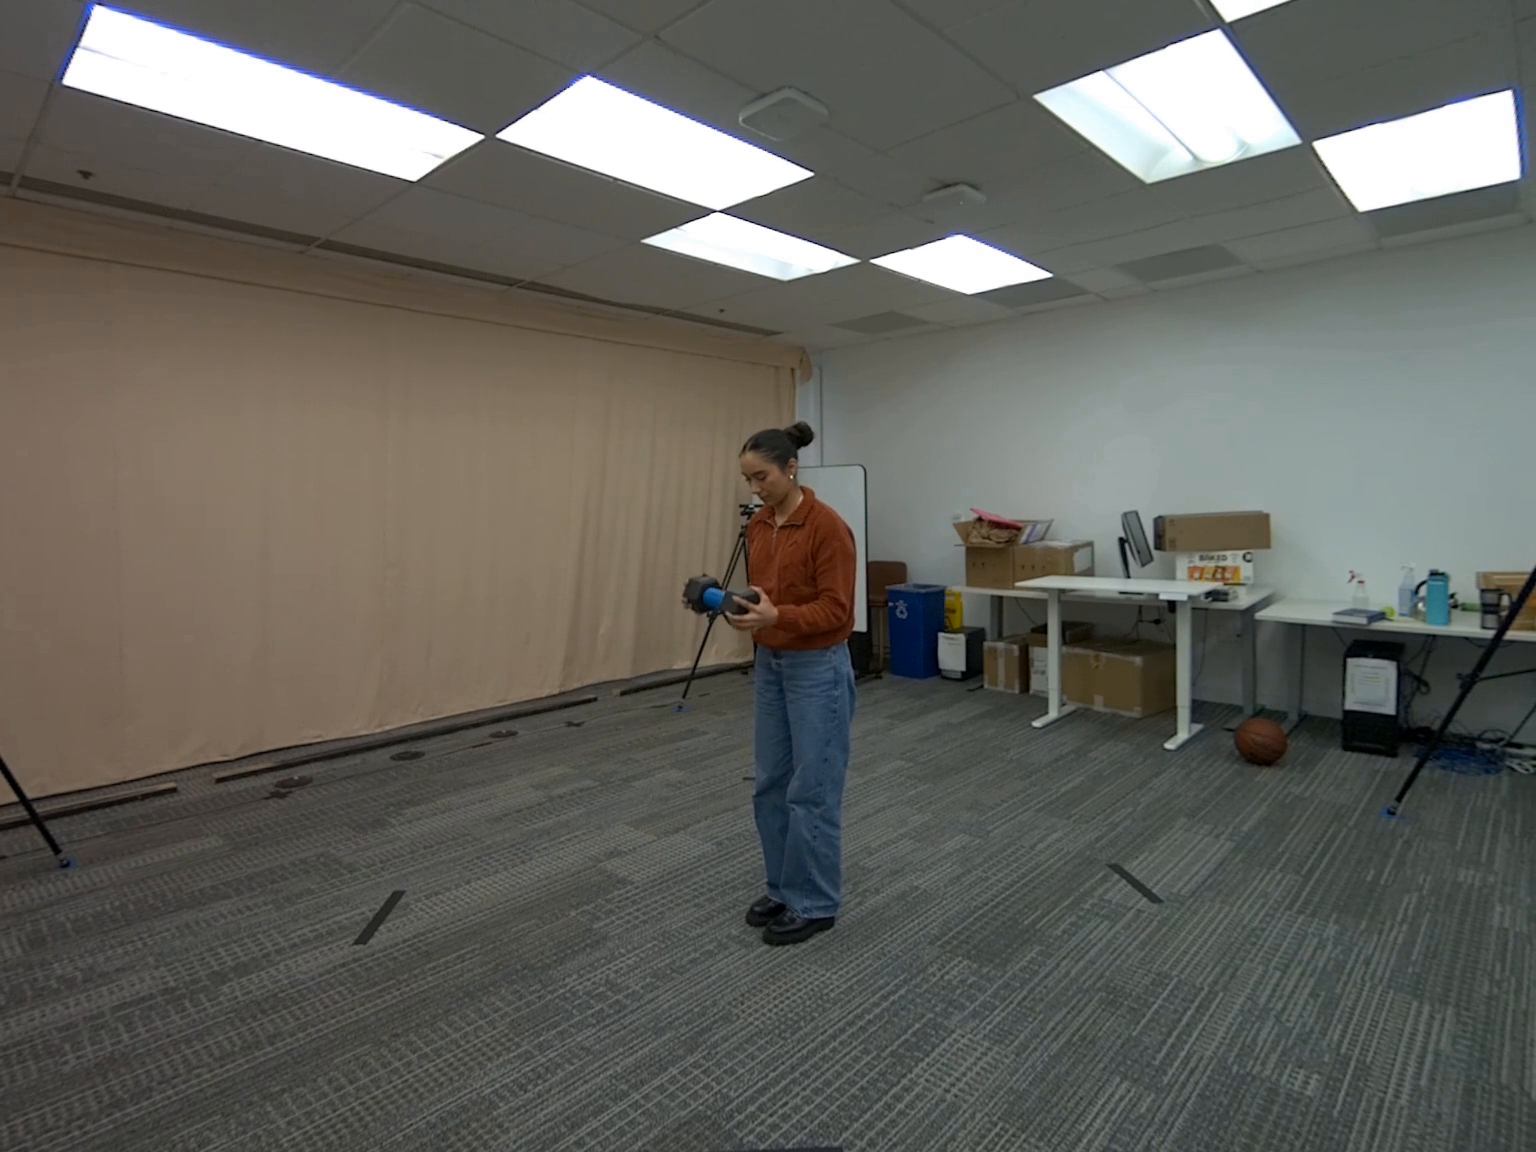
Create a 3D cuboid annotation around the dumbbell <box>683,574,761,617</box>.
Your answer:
[{"bbox_3d":[-0.124,0.081,2.616,0.120,0.108,0.304,-12,17,-34],"label":"dumbbell"}]
